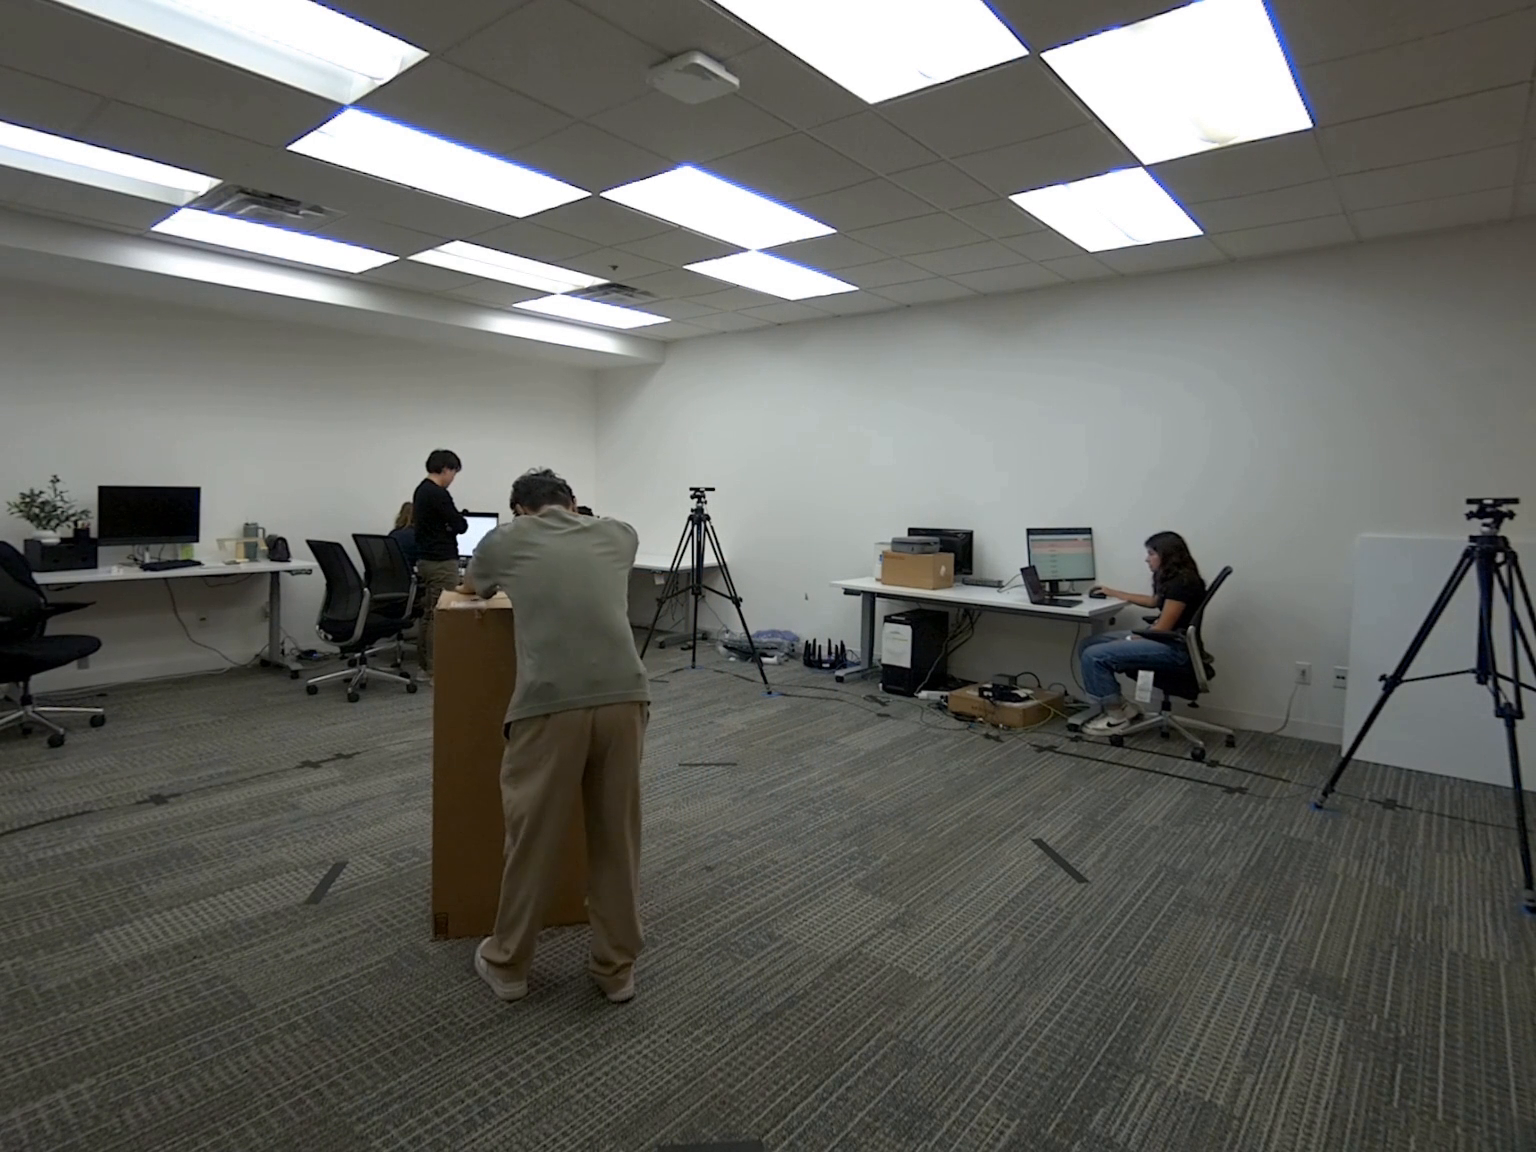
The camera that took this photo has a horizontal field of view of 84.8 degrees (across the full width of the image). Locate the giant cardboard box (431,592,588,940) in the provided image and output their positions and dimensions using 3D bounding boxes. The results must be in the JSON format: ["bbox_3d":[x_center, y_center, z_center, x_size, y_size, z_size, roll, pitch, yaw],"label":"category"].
[{"bbox_3d":[-0.812,0.573,2.818,0.568,1.023,0.434,0,3,-16],"label":"giant cardboard box"}]
